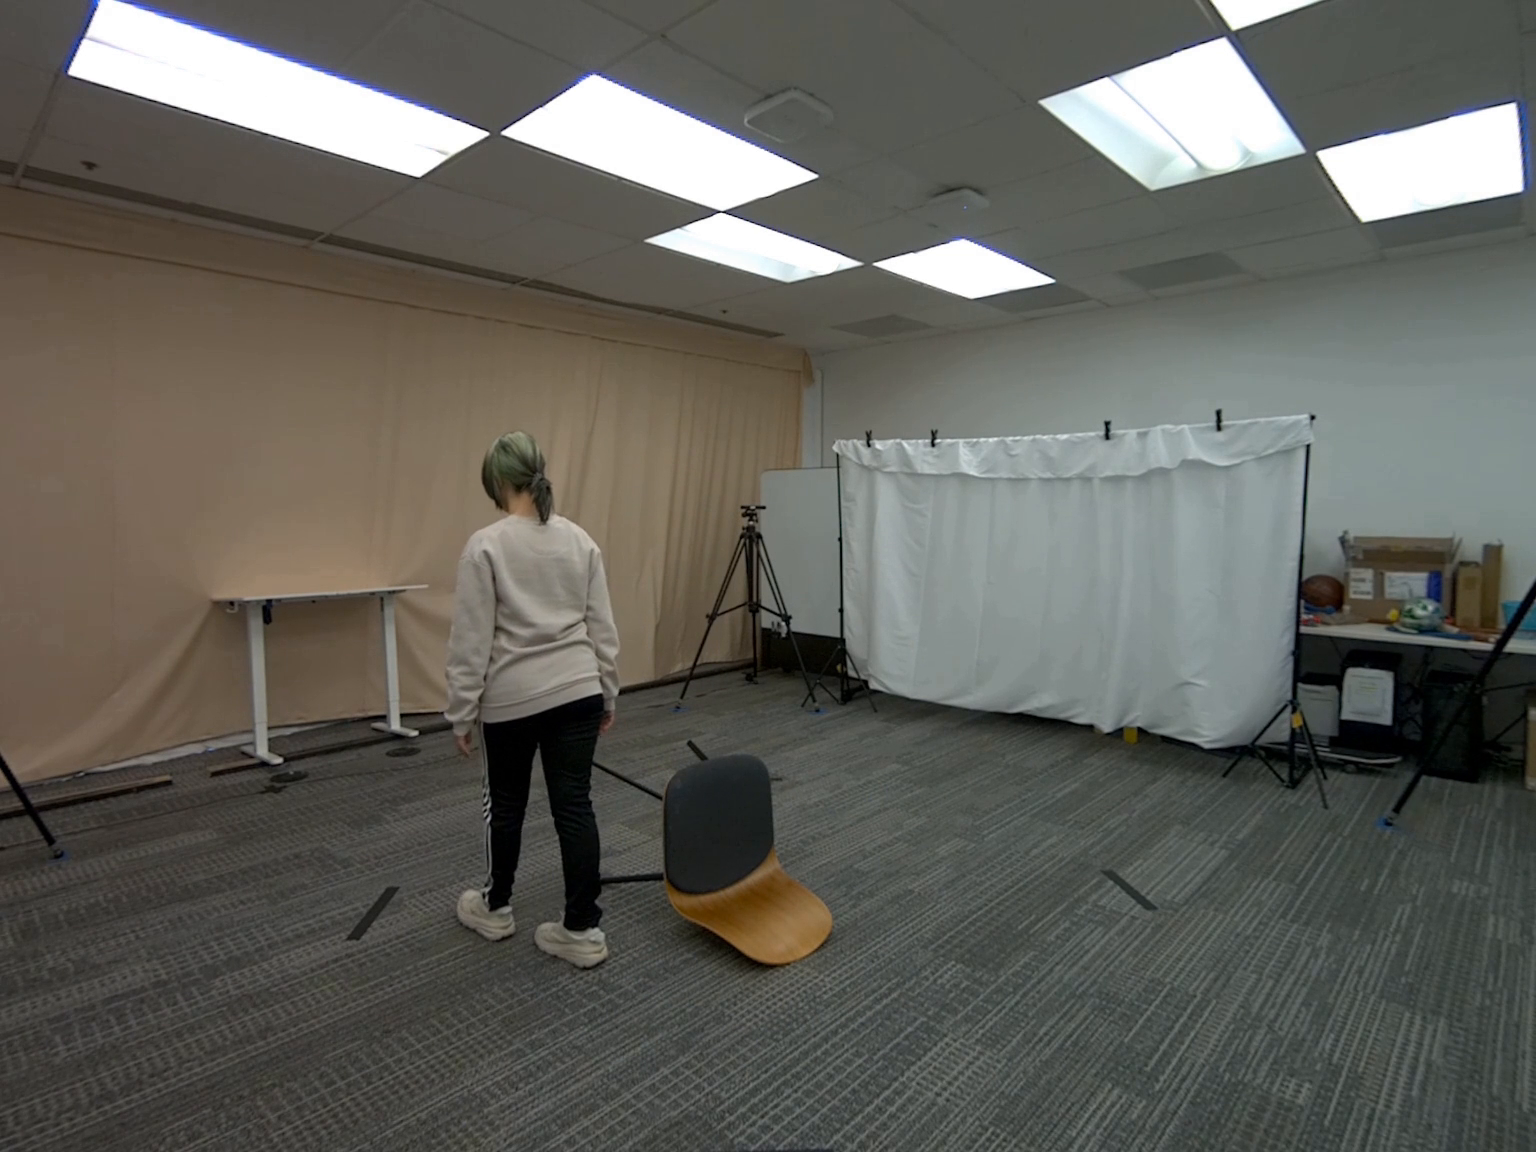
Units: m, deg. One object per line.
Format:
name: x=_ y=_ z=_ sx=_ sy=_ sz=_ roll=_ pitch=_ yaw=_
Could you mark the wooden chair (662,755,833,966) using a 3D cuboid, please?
wooden chair: x=-0.189 y=0.894 z=2.908 sx=0.464 sy=0.521 sz=0.907 roll=-3 pitch=7 yaw=-39
